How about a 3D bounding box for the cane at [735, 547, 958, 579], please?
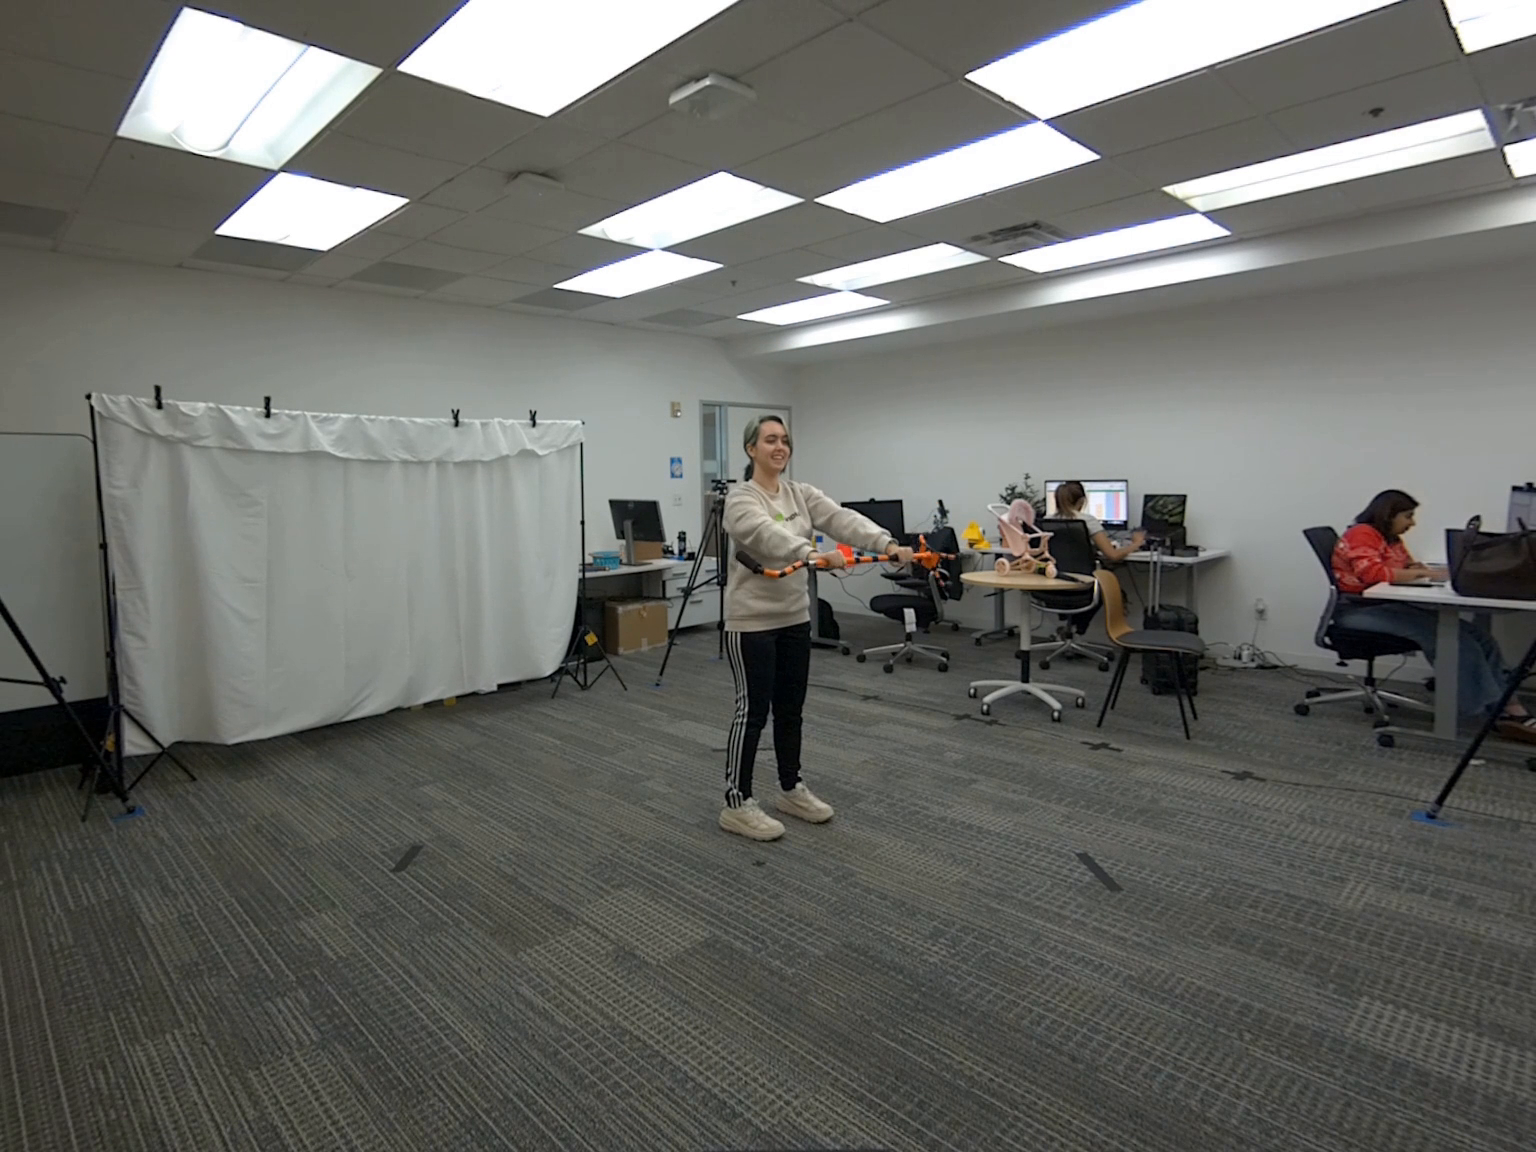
[{"bbox_3d":[0.304,-0.049,2.984,0.884,0.149,0.215,-4,31,-36],"label":"cane"}]
